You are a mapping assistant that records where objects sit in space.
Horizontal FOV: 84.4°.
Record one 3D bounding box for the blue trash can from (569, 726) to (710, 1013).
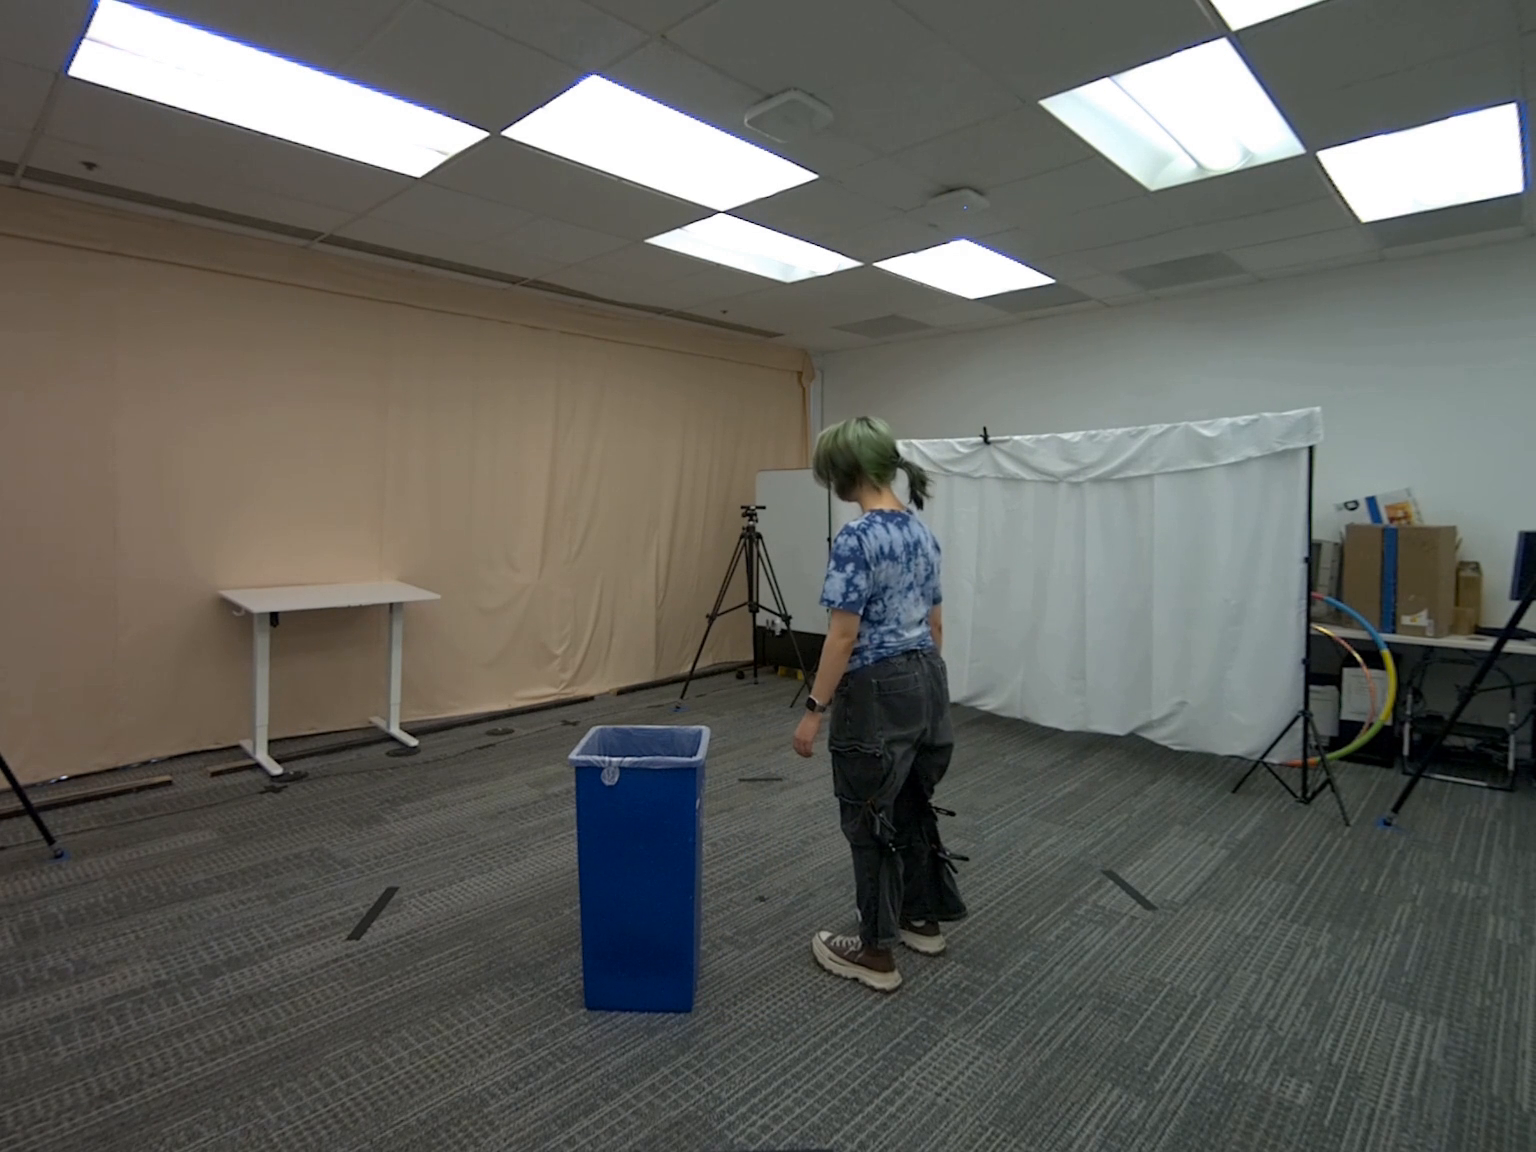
[{"bbox_3d":[-0.361,0.839,2.453,0.379,0.712,0.373,0,3,2],"label":"blue trash can"}]
